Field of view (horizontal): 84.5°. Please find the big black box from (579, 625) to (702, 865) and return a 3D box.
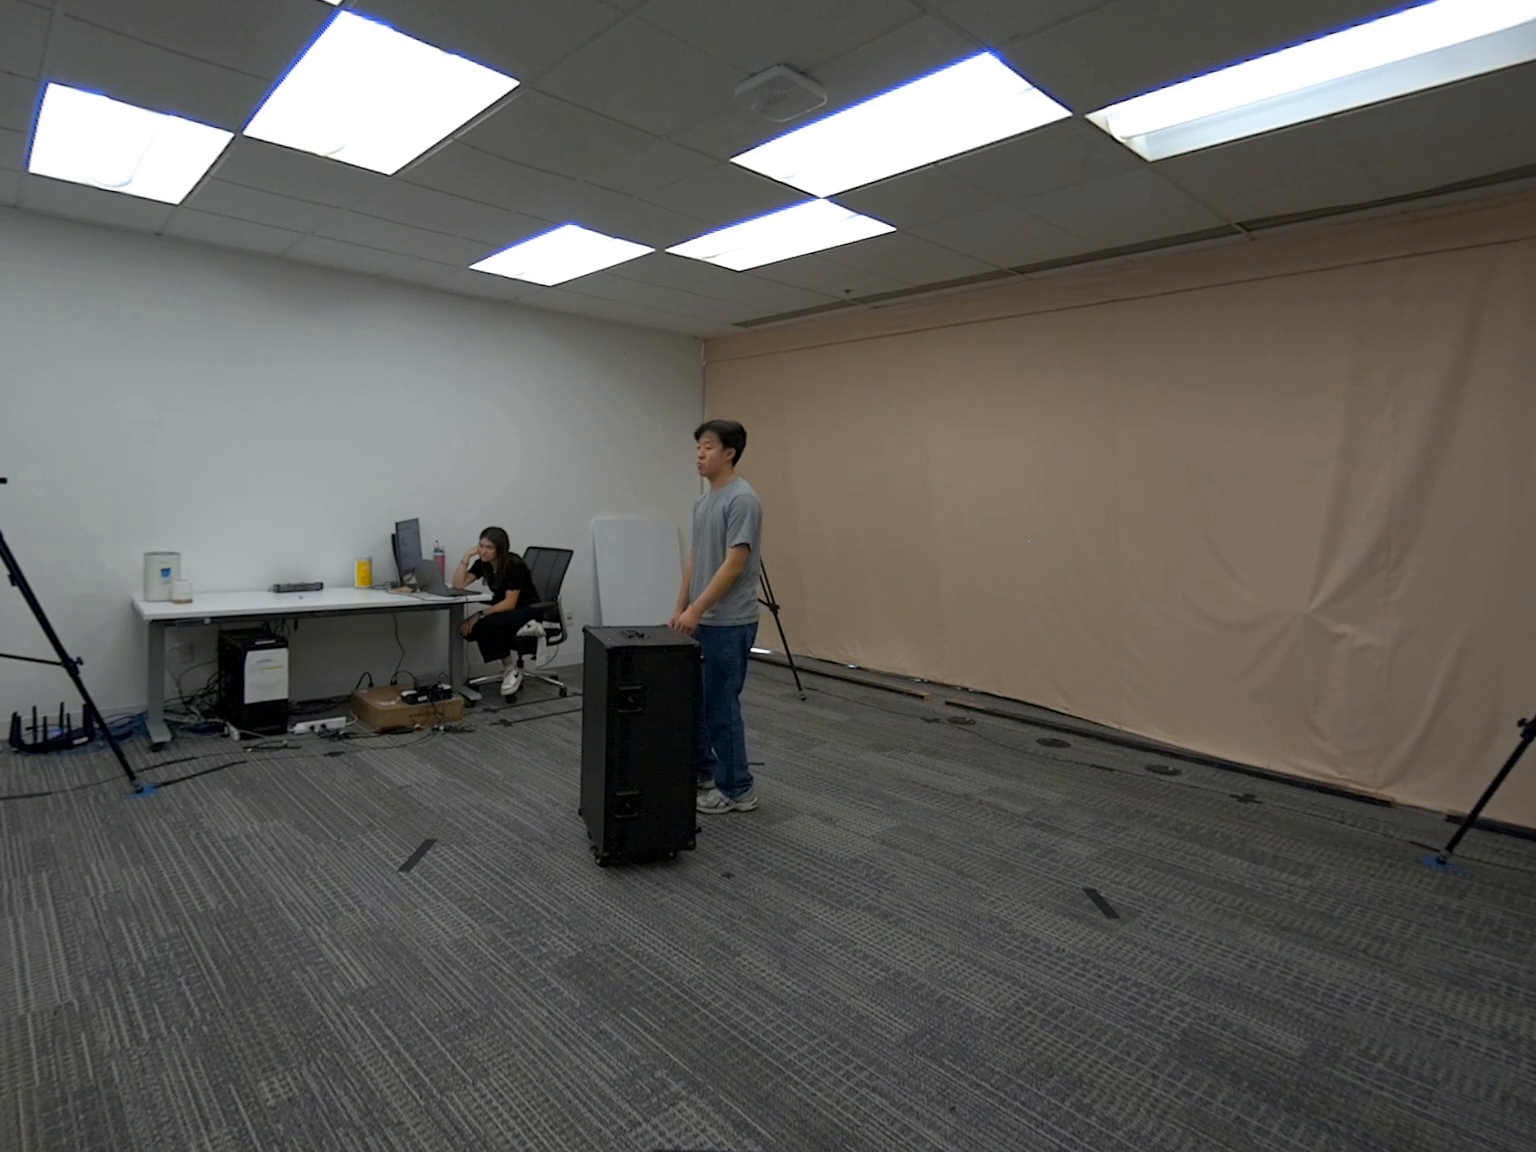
[{"bbox_3d":[-0.518,0.652,3.310,0.390,0.860,0.531,1,3,-22],"label":"big black box"}]
